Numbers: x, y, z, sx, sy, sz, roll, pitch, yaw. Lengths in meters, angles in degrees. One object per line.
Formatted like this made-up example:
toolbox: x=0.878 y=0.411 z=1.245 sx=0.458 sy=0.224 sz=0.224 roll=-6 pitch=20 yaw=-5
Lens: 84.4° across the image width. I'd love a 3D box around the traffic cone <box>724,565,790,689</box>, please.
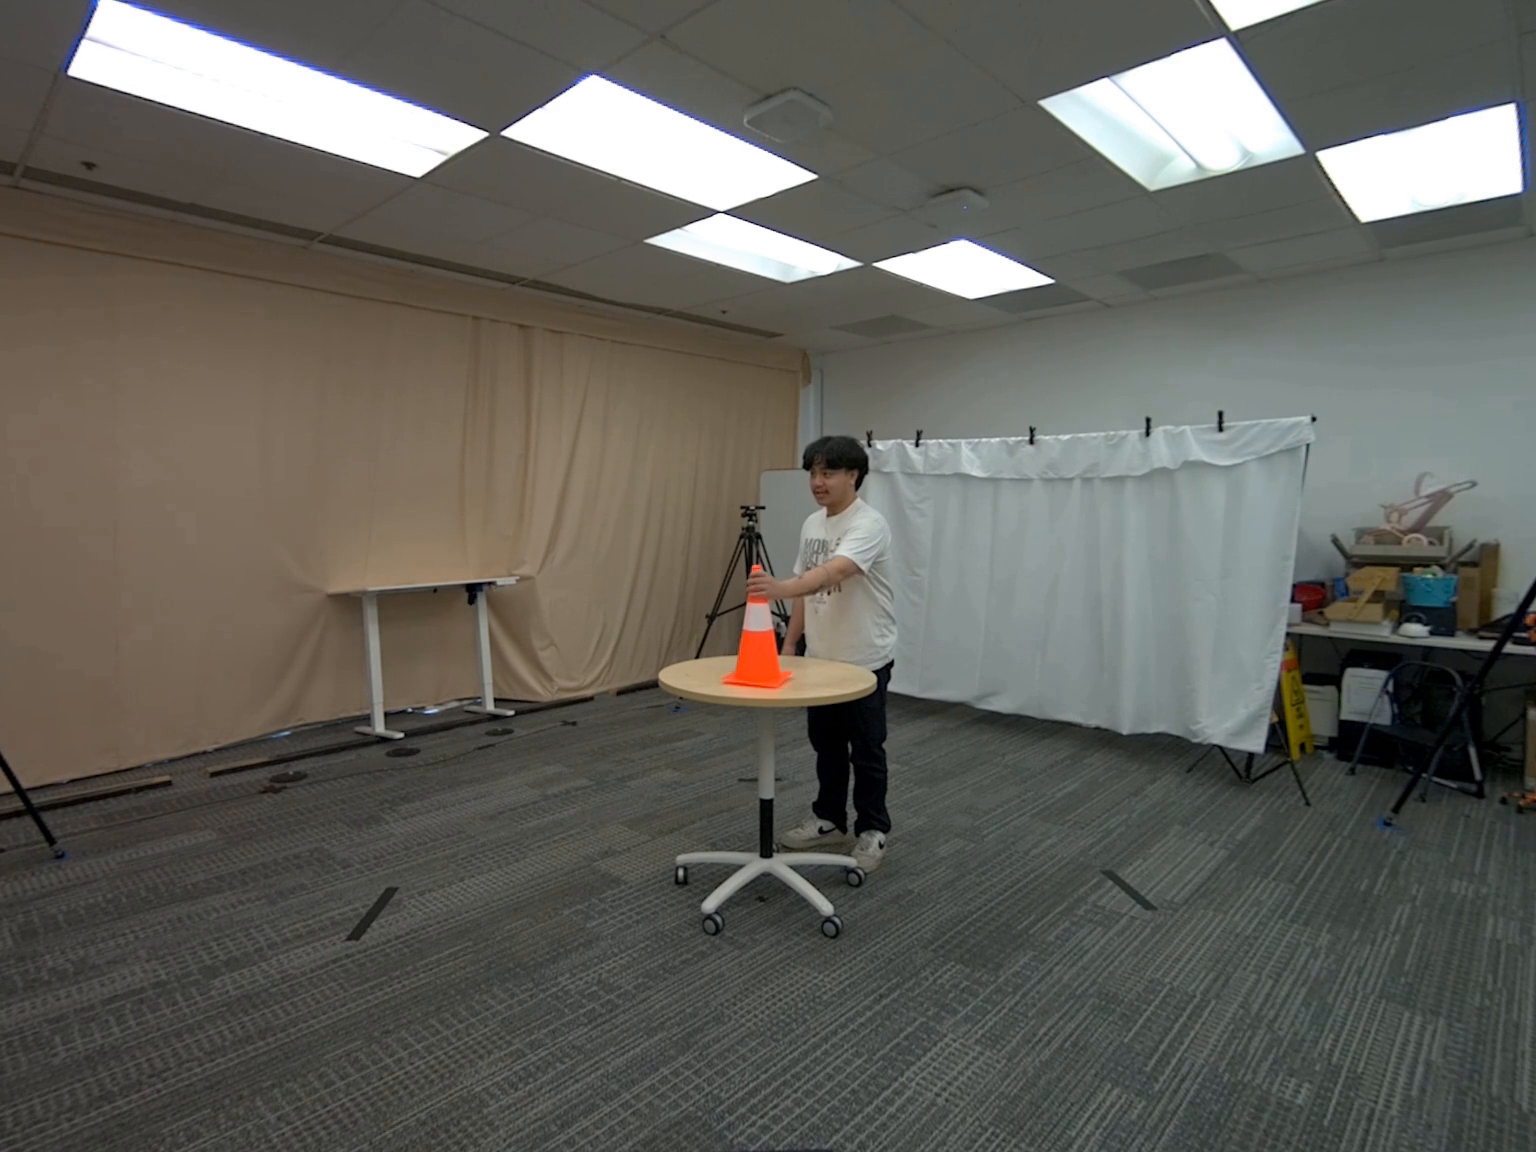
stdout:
traffic cone: x=-0.027 y=0.157 z=2.835 sx=0.210 sy=0.383 sz=0.199 roll=1 pitch=4 yaw=22
